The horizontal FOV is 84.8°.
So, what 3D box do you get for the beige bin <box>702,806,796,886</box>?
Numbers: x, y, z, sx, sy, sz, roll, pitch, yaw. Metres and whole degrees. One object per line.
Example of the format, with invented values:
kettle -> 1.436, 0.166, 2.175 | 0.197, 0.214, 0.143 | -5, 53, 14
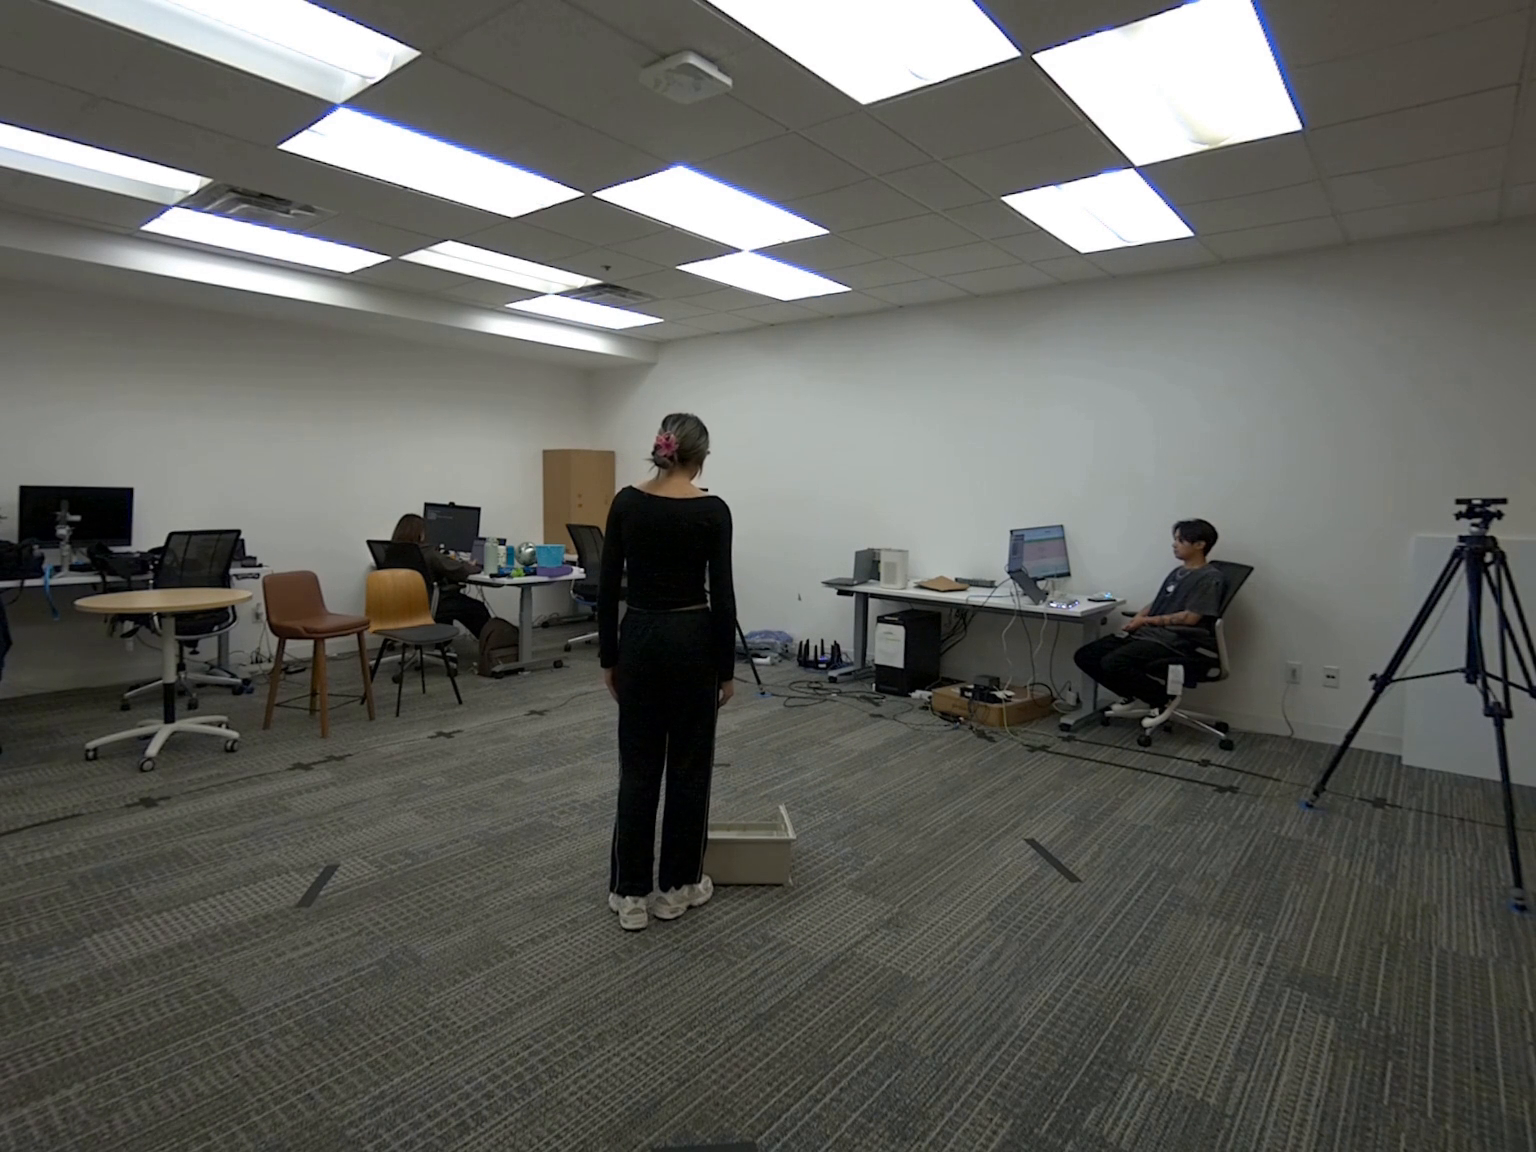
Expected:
beige bin -> -0.140, 0.983, 3.150 | 0.420, 0.188, 0.381 | 1, 5, -5
